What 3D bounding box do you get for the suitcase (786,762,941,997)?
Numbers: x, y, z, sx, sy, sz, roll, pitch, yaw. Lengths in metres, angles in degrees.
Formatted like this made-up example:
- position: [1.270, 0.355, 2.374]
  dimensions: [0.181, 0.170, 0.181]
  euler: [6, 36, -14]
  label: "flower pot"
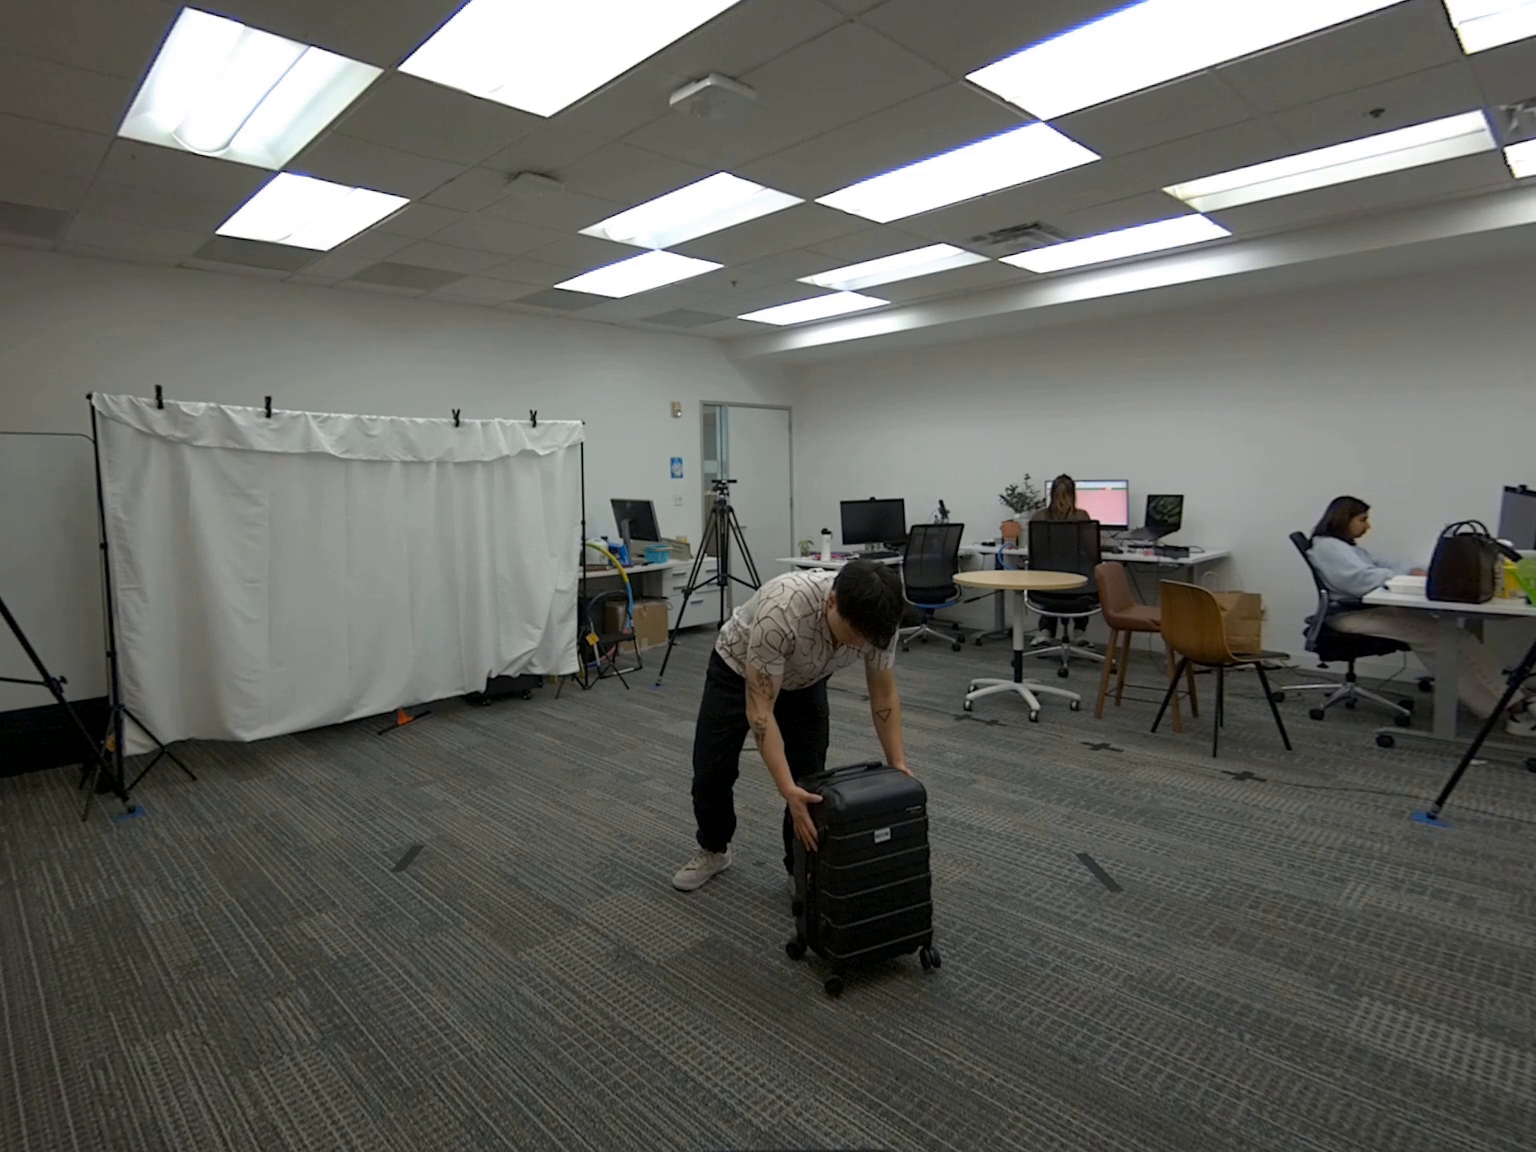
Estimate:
- position: [0.279, 0.832, 2.451]
  dimensions: [0.367, 0.548, 0.254]
  euler: [-3, 2, -25]
  label: "suitcase"
